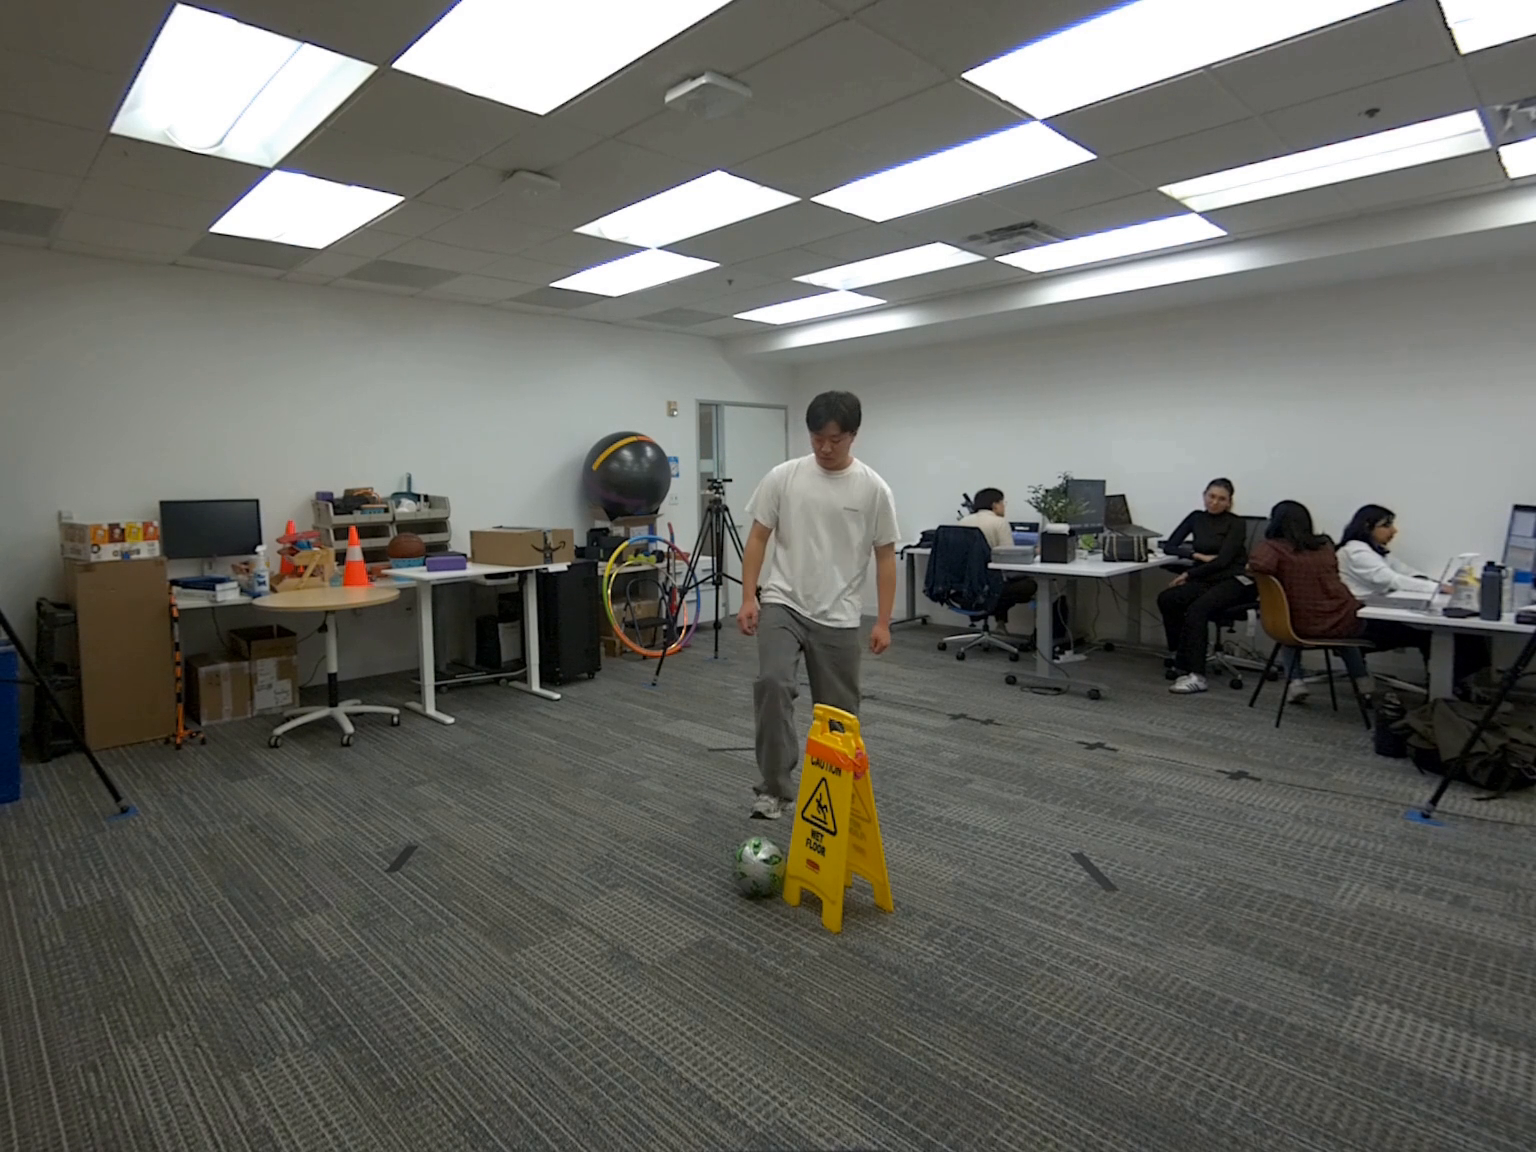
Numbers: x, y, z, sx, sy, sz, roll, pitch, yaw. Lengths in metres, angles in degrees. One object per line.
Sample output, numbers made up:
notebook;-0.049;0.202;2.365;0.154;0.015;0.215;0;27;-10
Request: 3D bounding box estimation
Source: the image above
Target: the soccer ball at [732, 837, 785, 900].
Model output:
soccer ball;-0.025;0.982;2.891;0.187;0.187;0.188;-1;5;-2
